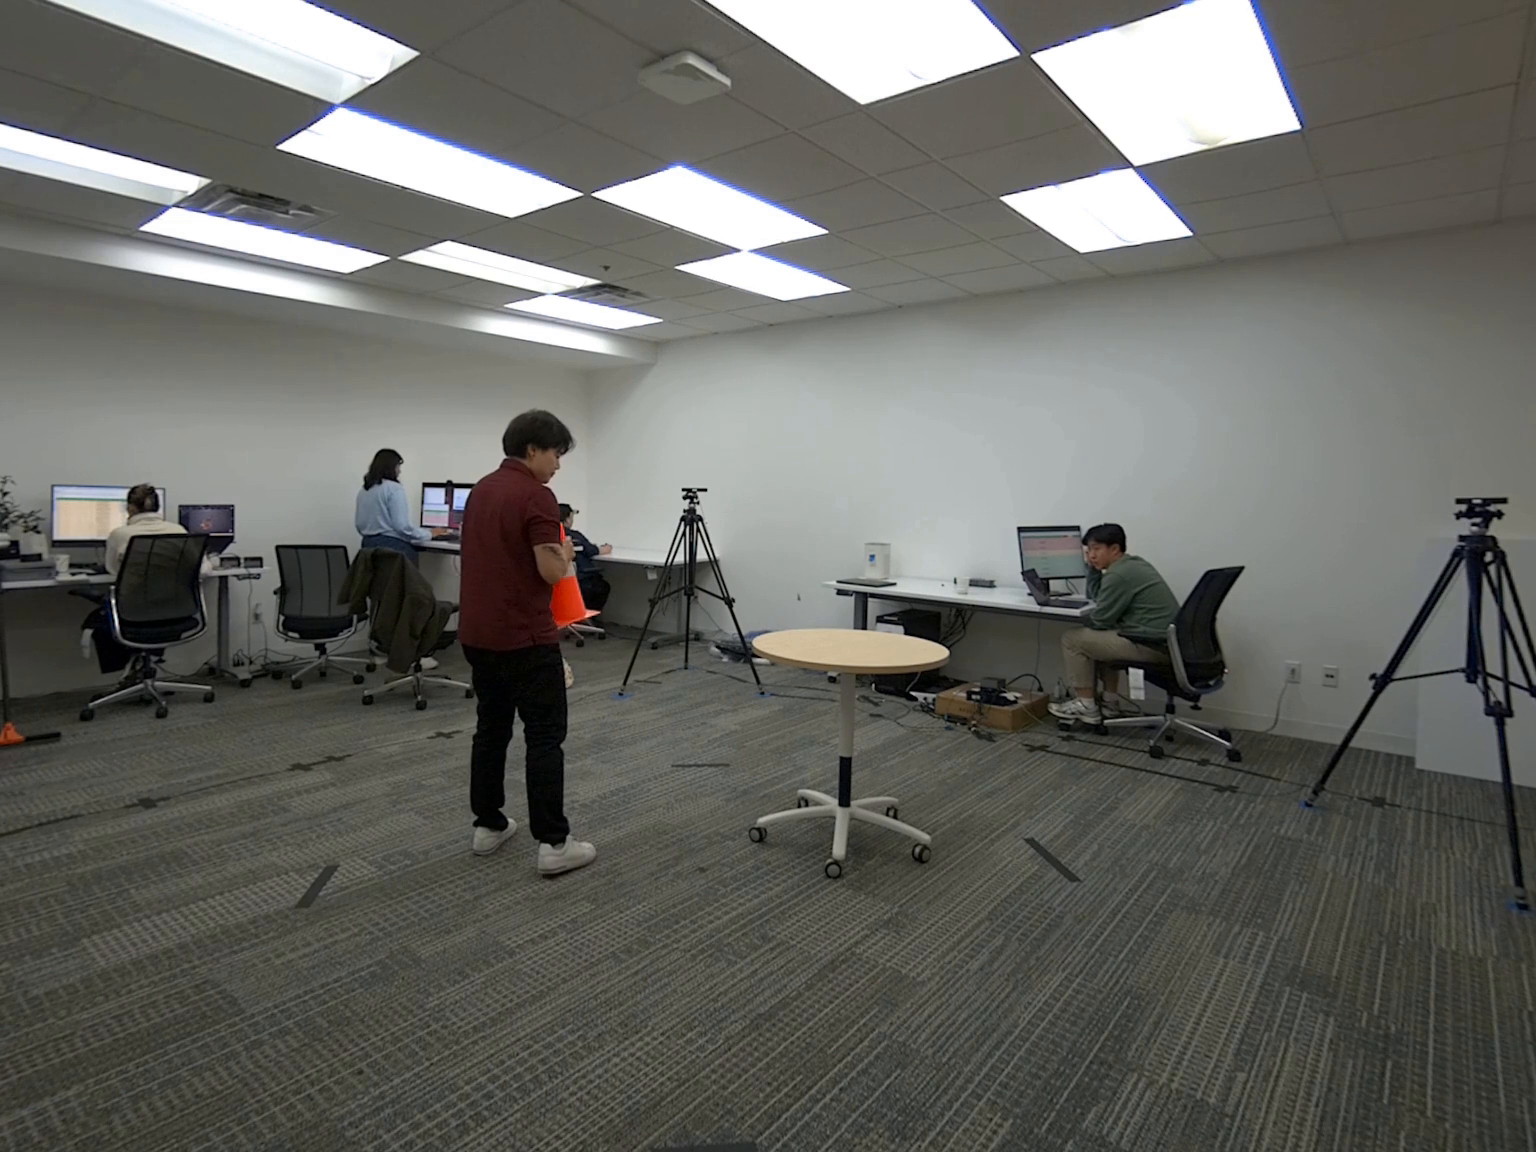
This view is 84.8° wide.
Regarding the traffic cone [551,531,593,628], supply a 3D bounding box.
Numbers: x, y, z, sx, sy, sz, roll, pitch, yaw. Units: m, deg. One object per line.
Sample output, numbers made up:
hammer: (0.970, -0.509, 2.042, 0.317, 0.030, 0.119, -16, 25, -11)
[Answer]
traffic cone: (-0.842, -0.021, 3.369, 0.212, 0.380, 0.198, 6, 13, 38)
